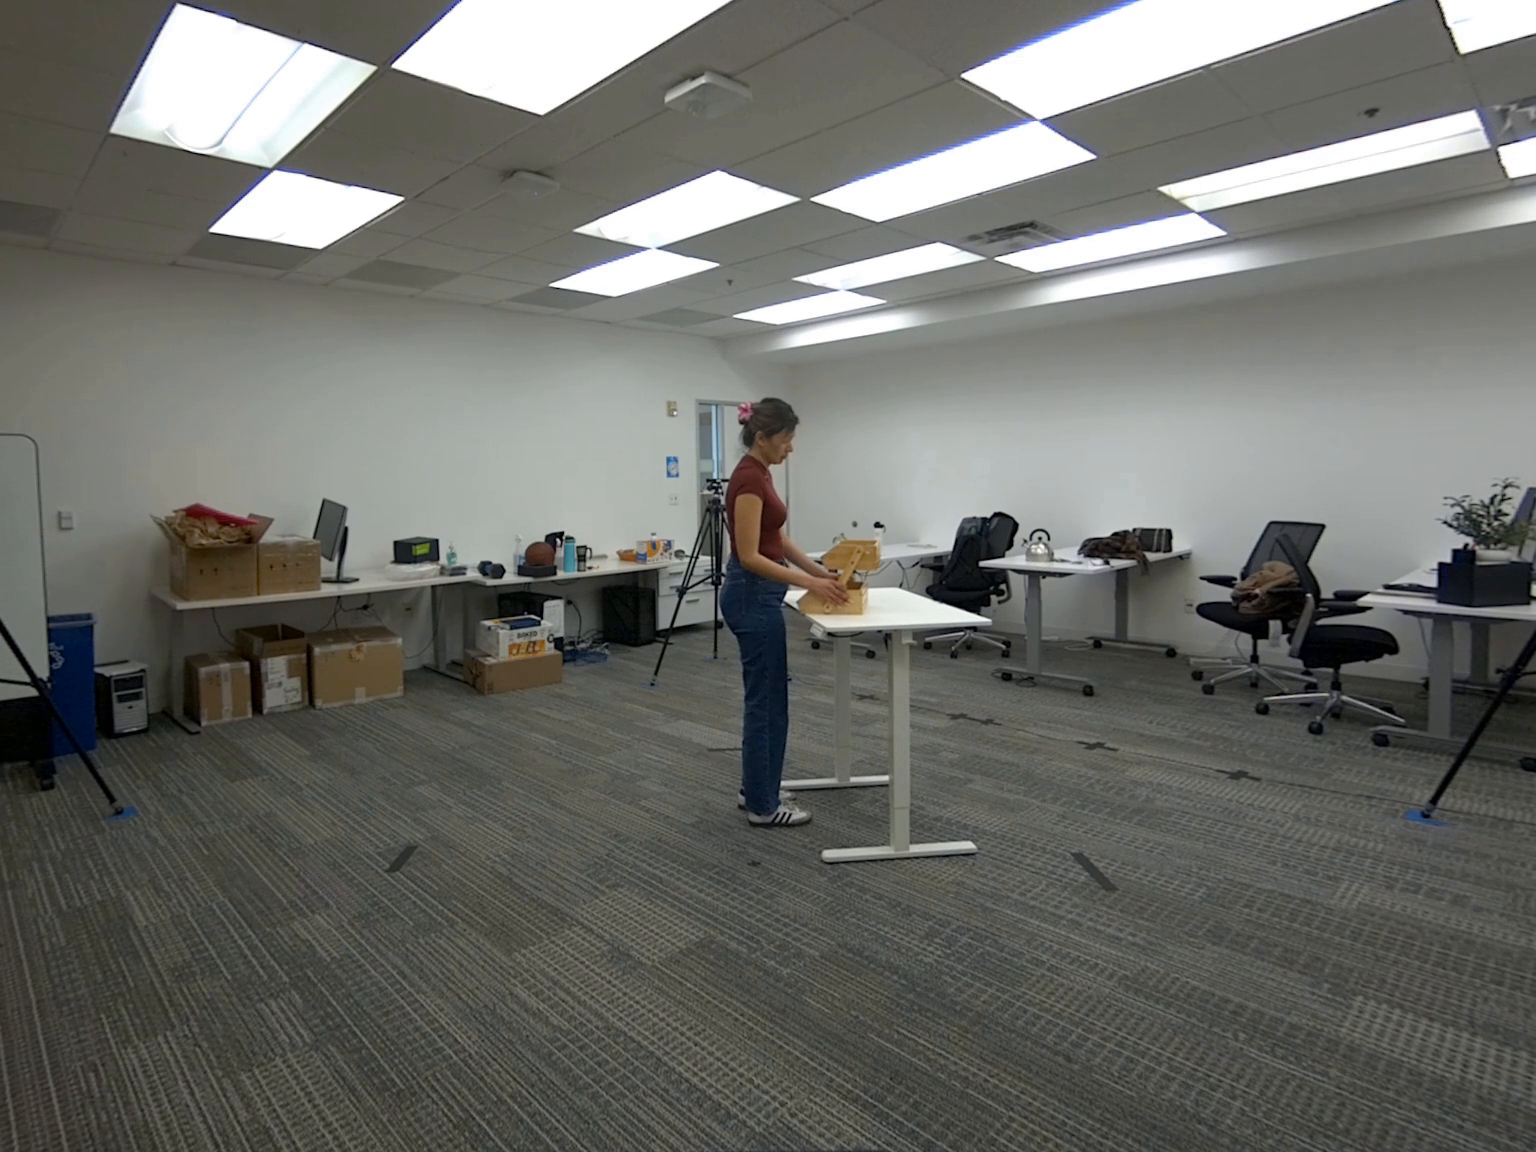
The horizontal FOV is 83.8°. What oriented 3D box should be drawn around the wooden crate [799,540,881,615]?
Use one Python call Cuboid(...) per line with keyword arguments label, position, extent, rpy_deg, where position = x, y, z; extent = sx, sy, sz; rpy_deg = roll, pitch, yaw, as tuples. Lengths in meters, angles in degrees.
Cuboid(label="wooden crate", position=(0.273, -0.002, 3.349), extent=(0.305, 0.272, 0.322), rpy_deg=(0, 5, 10))
